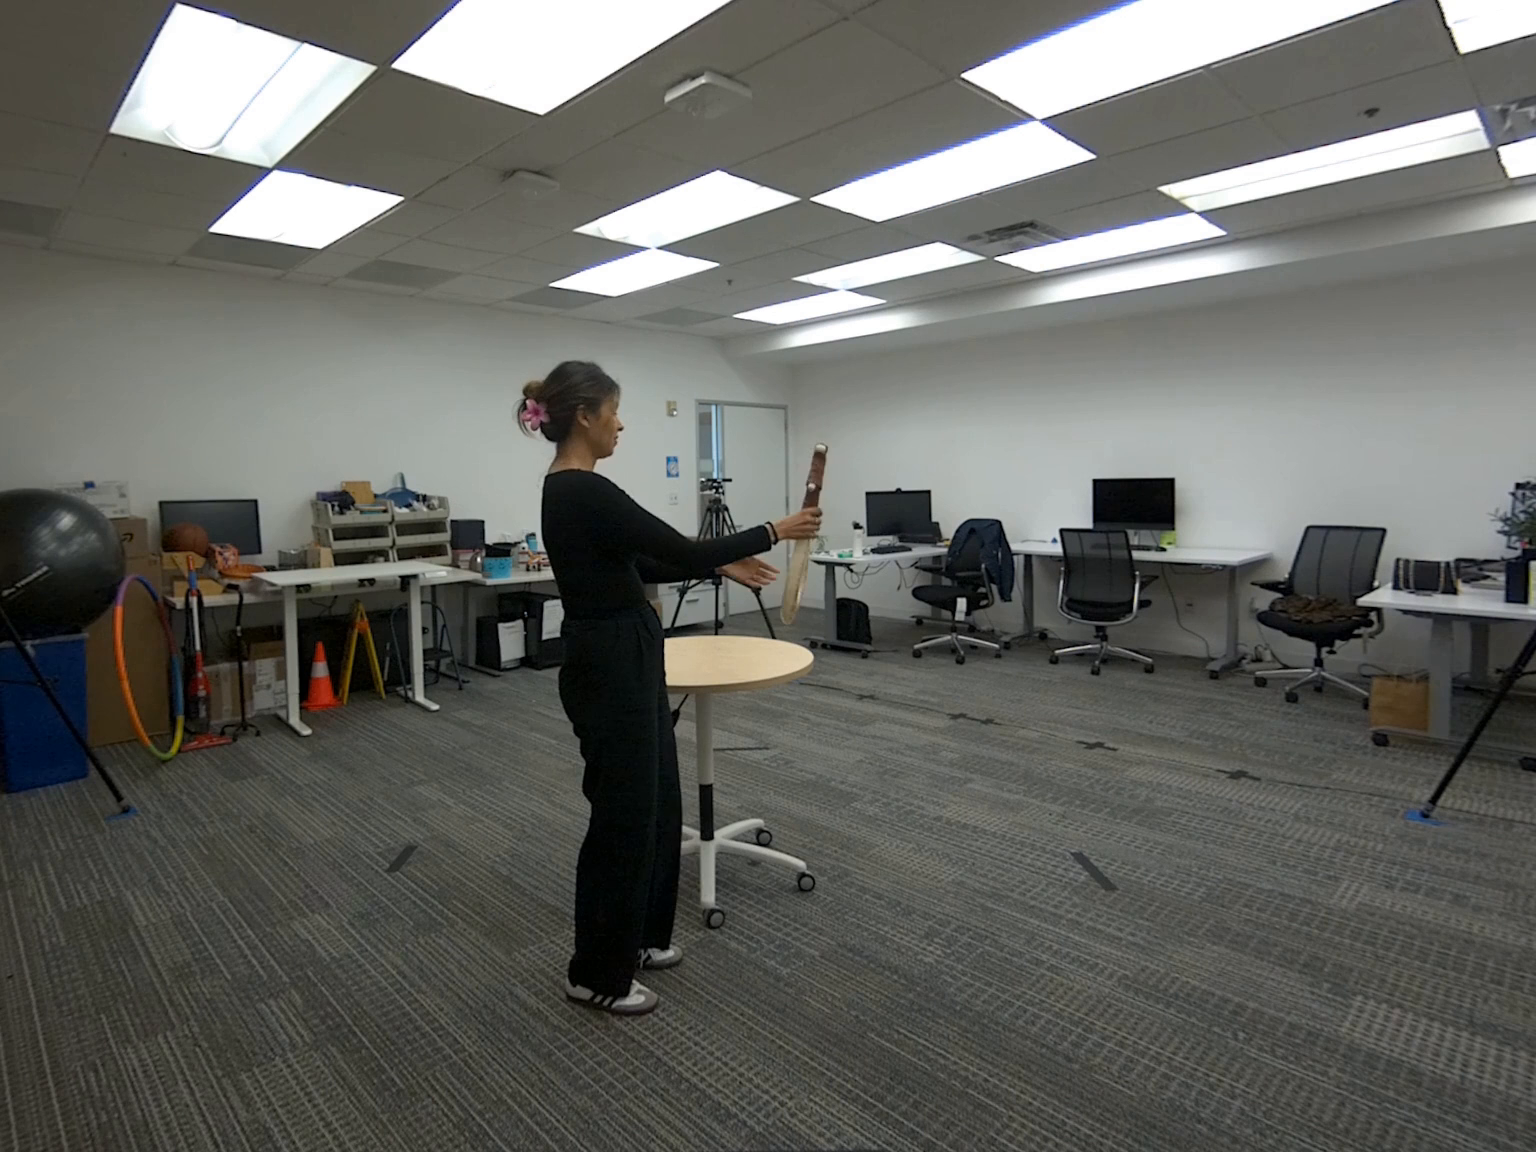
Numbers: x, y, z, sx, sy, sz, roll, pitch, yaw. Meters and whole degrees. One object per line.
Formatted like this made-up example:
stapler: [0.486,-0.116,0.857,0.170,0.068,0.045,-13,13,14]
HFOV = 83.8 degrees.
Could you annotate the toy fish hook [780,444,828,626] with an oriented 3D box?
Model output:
toy fish hook: [0.106,-0.114,2.306,0.048,0.502,0.225,12,12,4]
